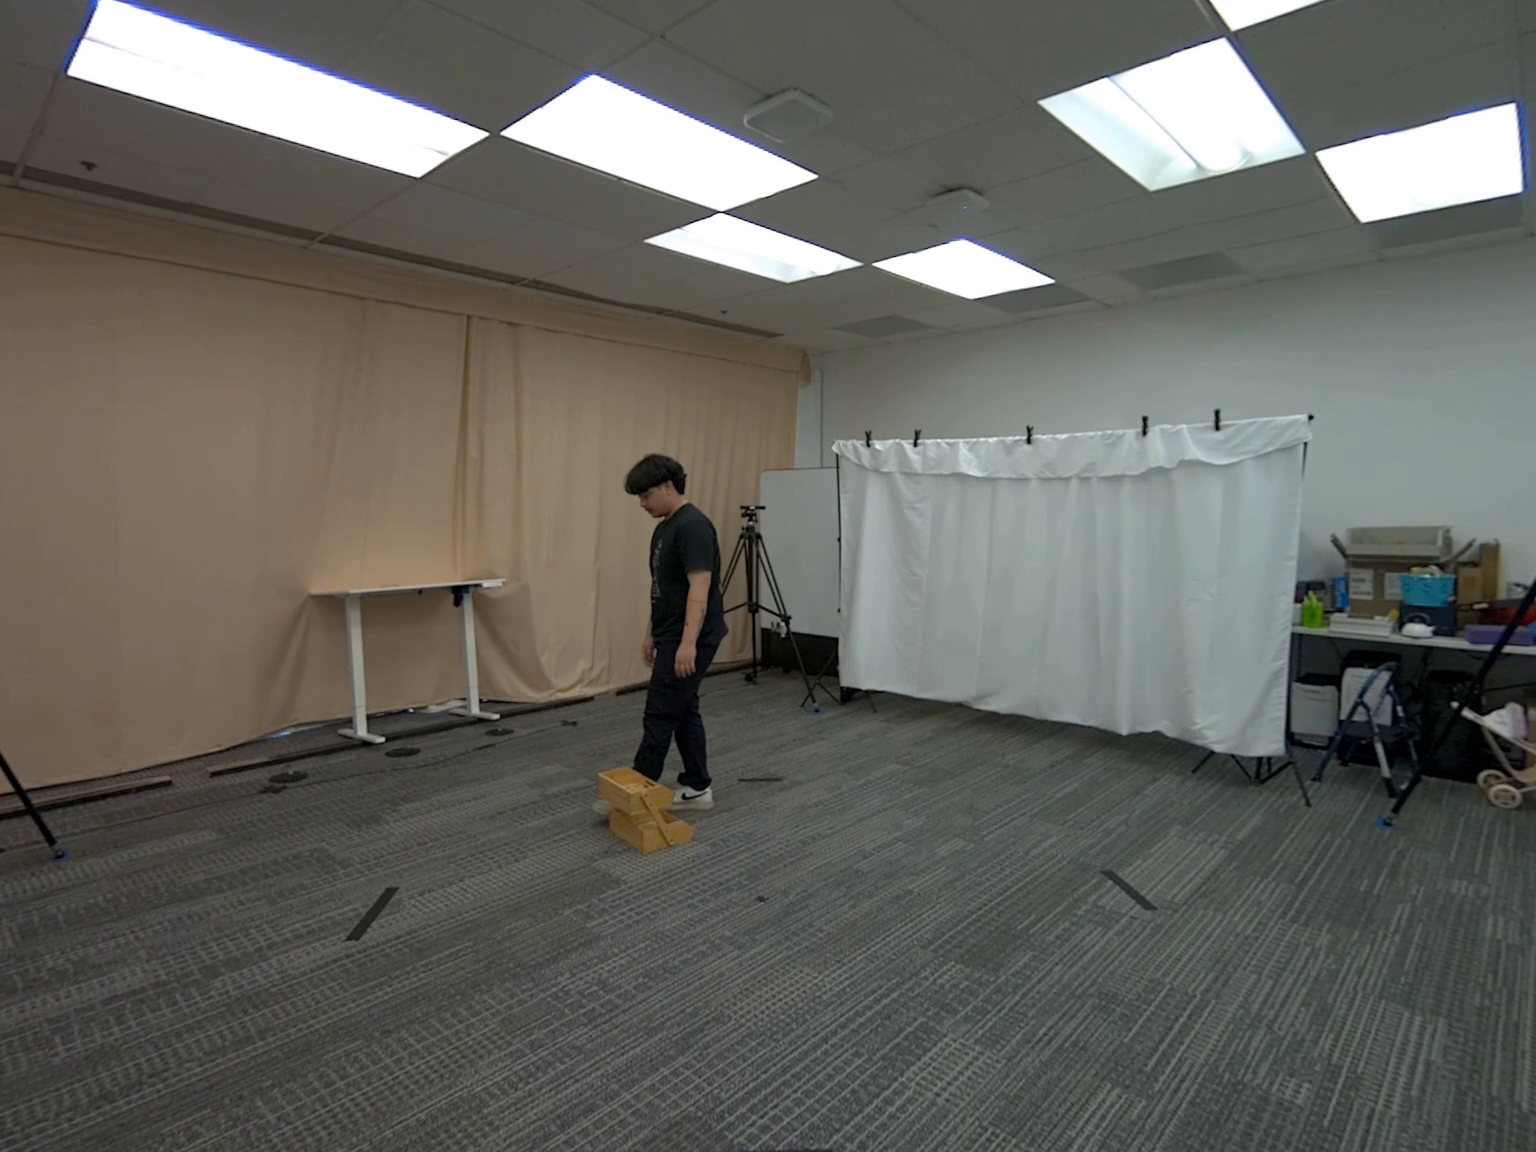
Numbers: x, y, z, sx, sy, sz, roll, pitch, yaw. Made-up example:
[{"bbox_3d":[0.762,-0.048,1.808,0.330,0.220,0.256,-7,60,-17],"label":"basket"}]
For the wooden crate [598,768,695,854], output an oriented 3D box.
[{"bbox_3d":[-0.514,0.964,3.552,0.293,0.272,0.335,-5,5,-36],"label":"wooden crate"}]
